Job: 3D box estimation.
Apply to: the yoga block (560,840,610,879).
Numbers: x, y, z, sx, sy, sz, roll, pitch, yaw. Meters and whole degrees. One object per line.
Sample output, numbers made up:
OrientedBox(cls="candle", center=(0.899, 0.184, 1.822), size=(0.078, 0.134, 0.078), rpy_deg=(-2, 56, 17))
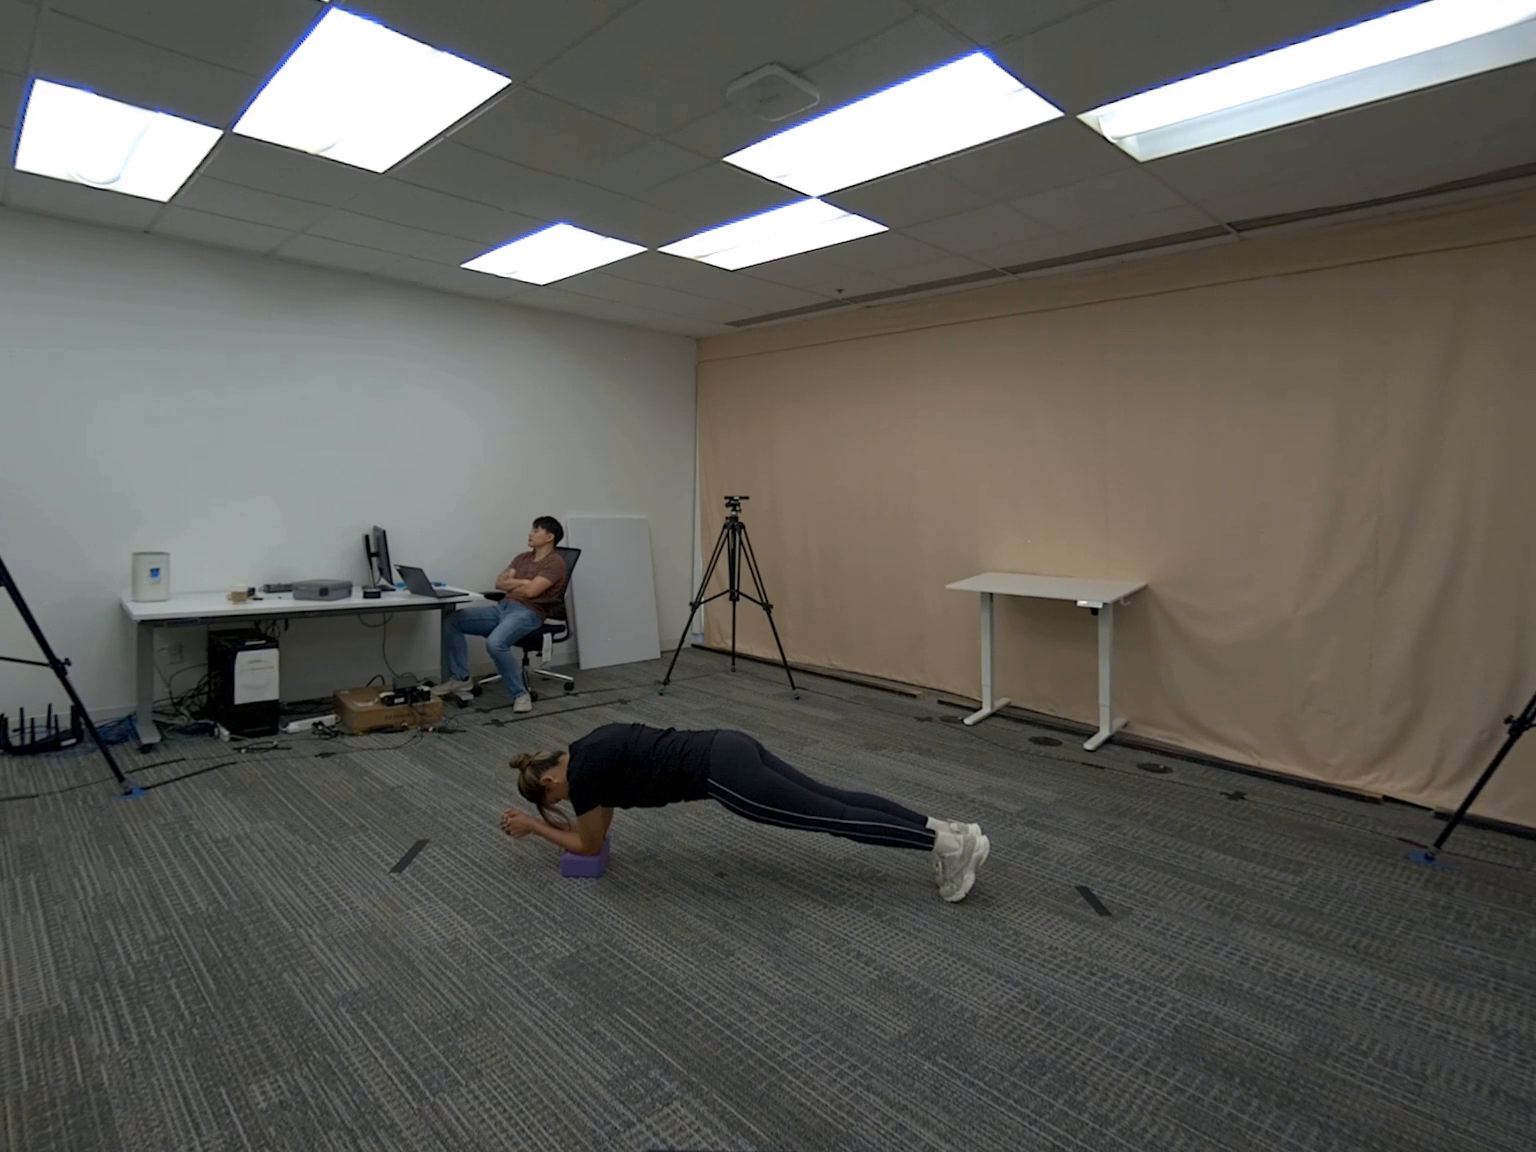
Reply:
OrientedBox(cls="yoga block", center=(-0.686, 1.039, 3.164), size=(0.149, 0.076, 0.230), rpy_deg=(0, 6, 1))
